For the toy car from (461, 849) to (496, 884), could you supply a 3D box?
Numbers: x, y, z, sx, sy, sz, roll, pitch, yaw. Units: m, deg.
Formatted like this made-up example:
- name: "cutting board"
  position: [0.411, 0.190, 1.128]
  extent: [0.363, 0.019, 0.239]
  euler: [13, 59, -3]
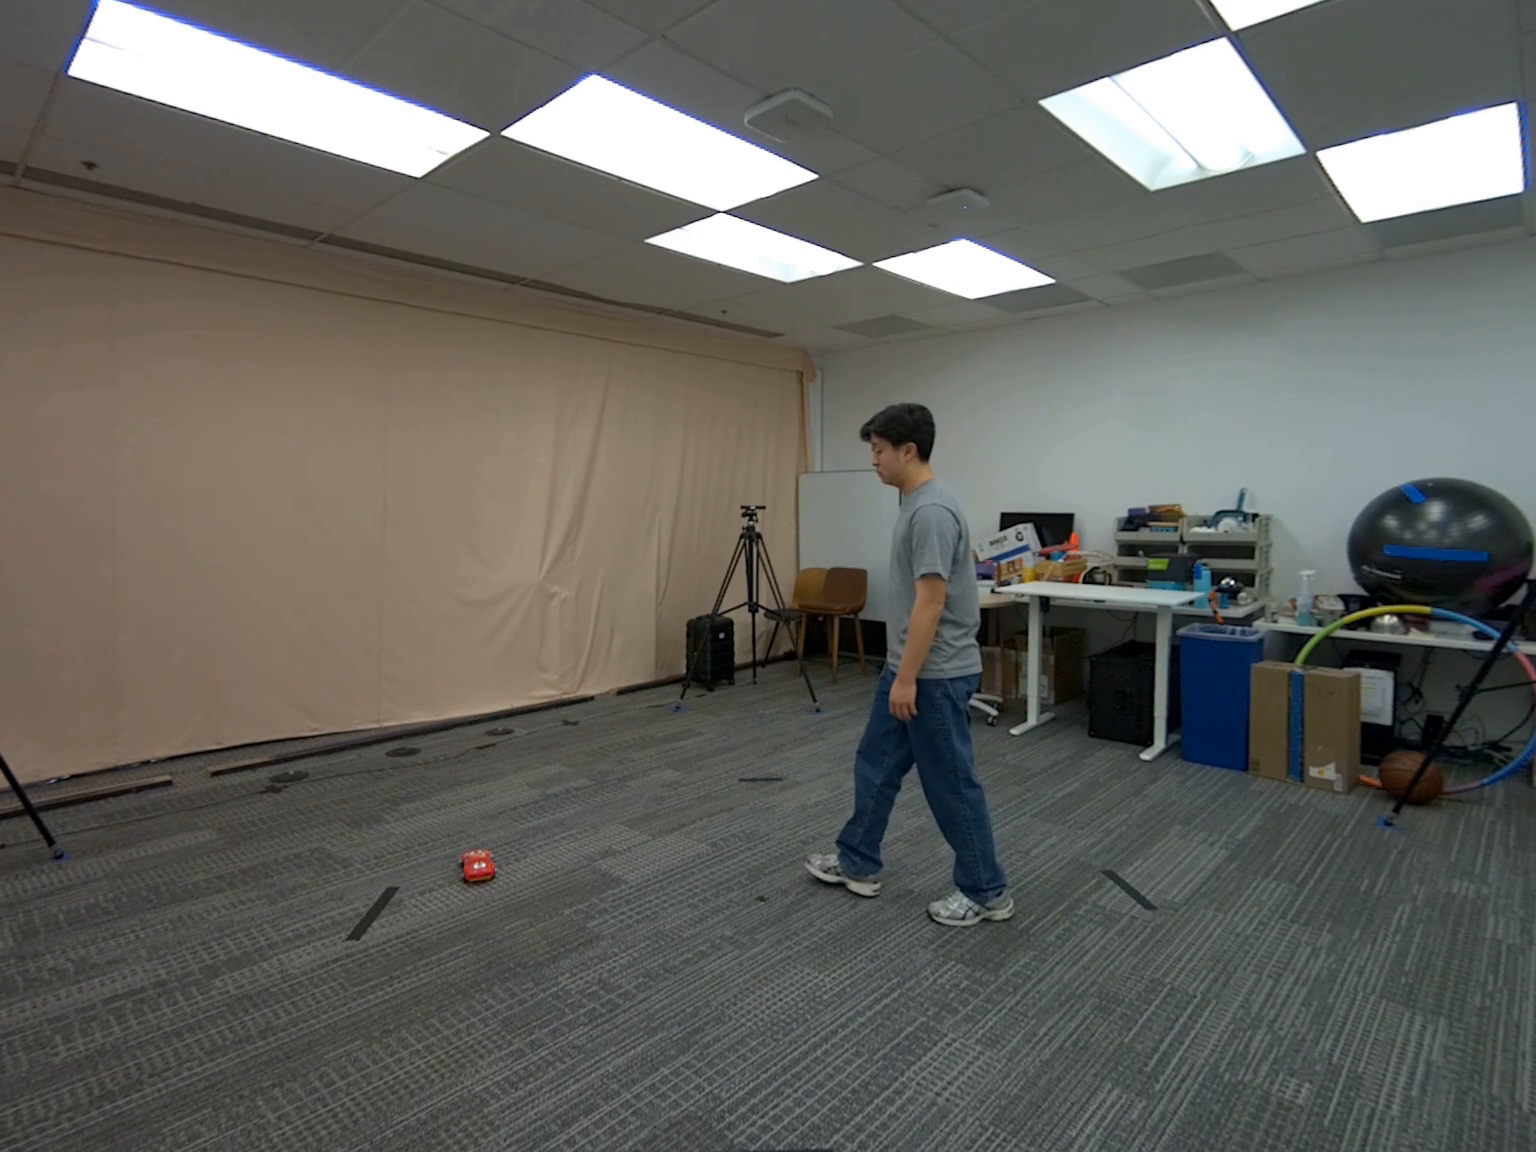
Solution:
- name: "toy car"
  position: [-1.108, 1.109, 3.206]
  extent: [0.127, 0.083, 0.258]
  euler: [-2, -7, -23]
